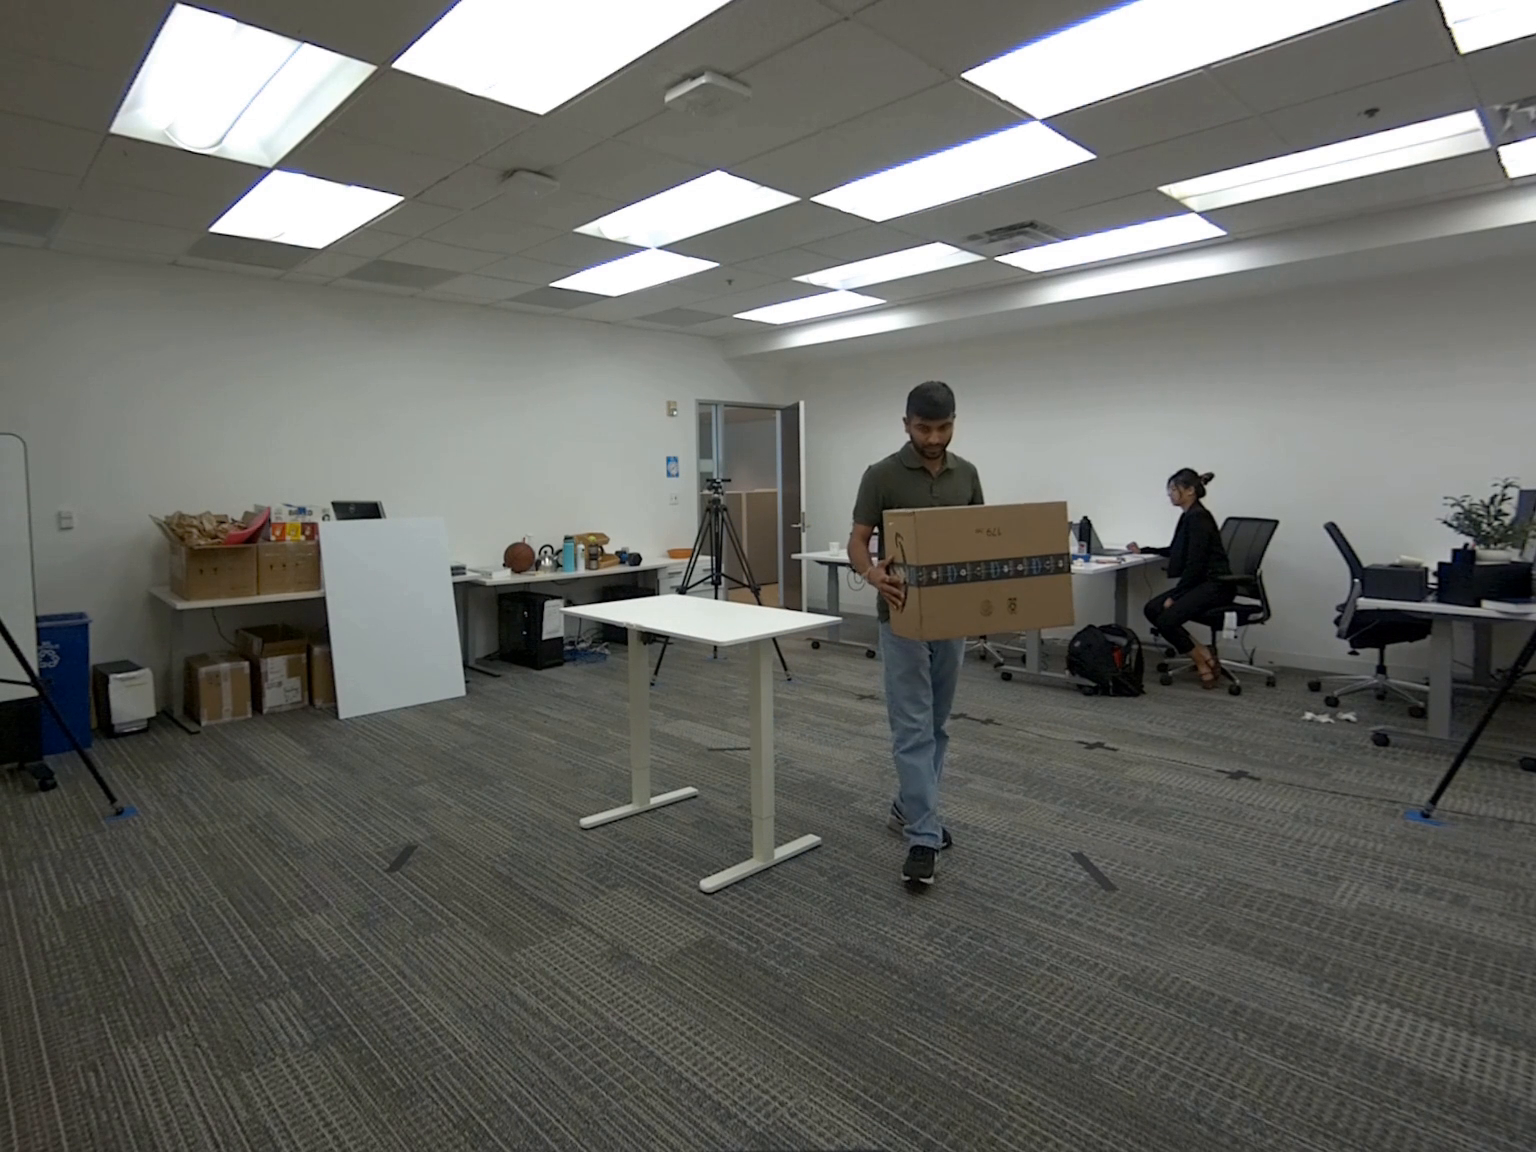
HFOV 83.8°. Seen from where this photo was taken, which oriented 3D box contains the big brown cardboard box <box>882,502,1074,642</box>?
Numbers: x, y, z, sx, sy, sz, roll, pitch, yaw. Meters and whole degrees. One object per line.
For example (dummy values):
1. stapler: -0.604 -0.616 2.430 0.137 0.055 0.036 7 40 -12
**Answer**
1. big brown cardboard box: 0.684 -0.023 2.835 0.581 0.416 0.237 -4 3 -15
